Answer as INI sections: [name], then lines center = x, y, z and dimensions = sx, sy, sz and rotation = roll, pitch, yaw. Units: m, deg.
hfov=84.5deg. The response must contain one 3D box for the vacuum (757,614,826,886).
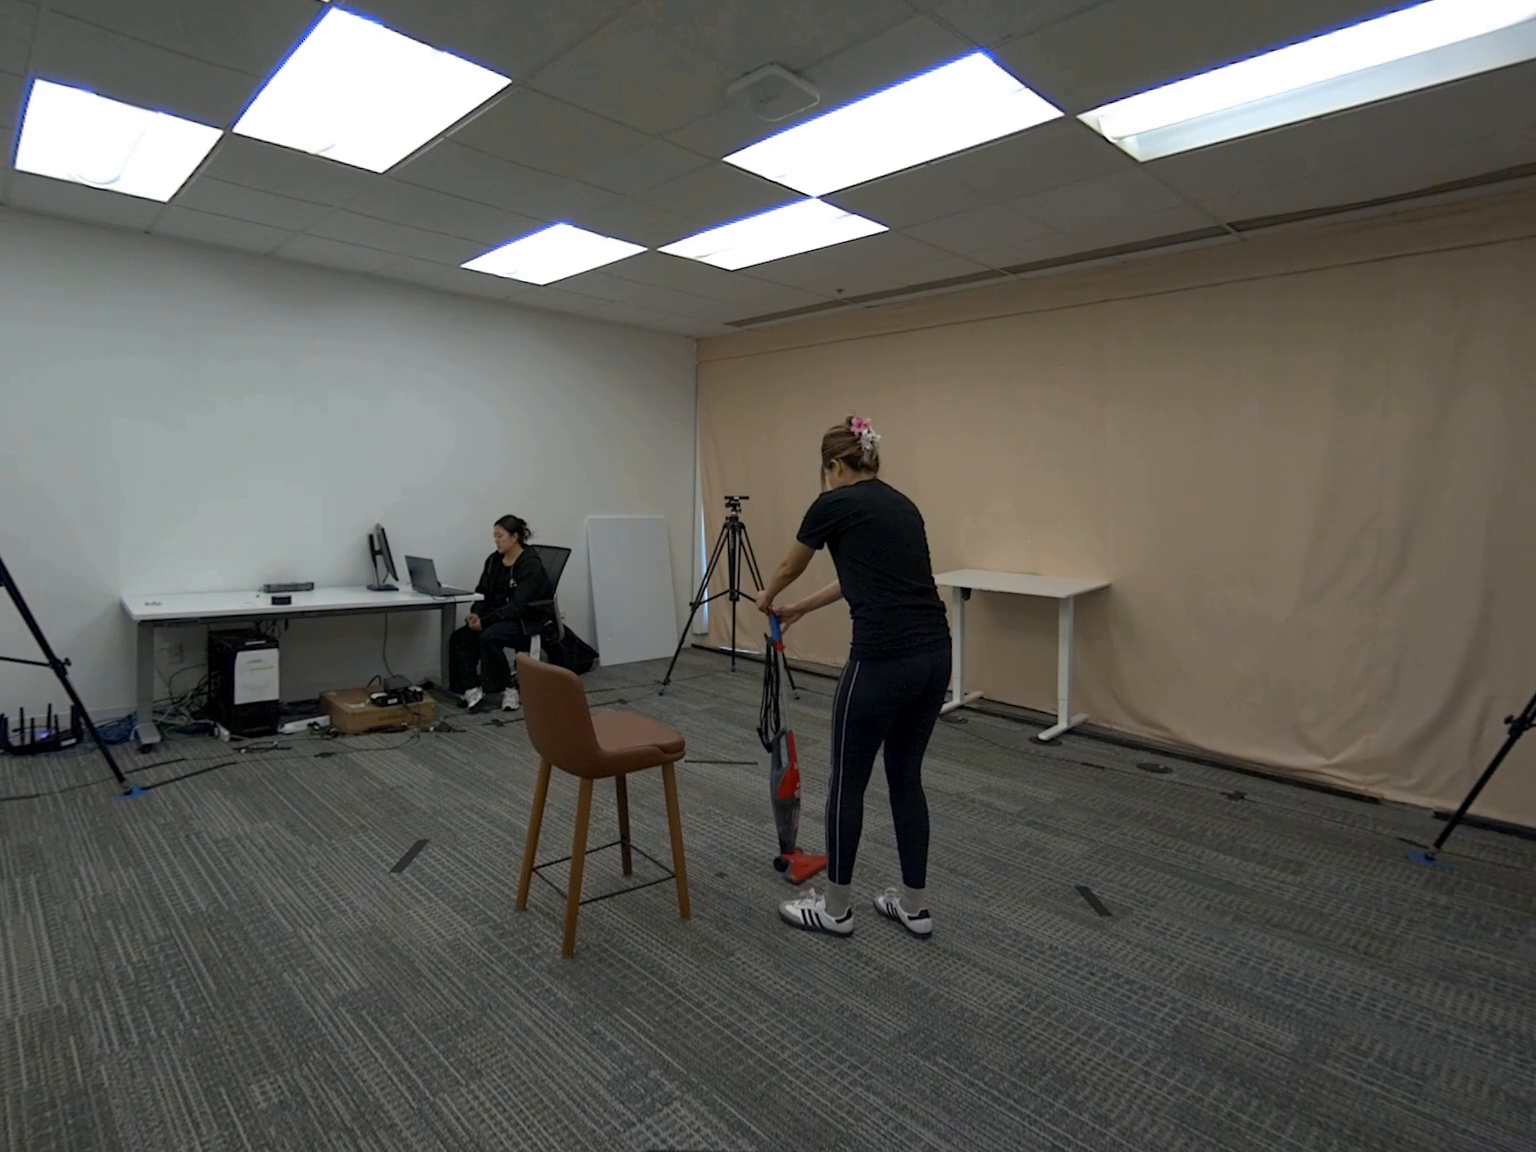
[vacuum]
center = 0.035, 0.593, 3.220
dimensions = 0.146, 1.055, 0.247
rotation = -14, -8, 40
